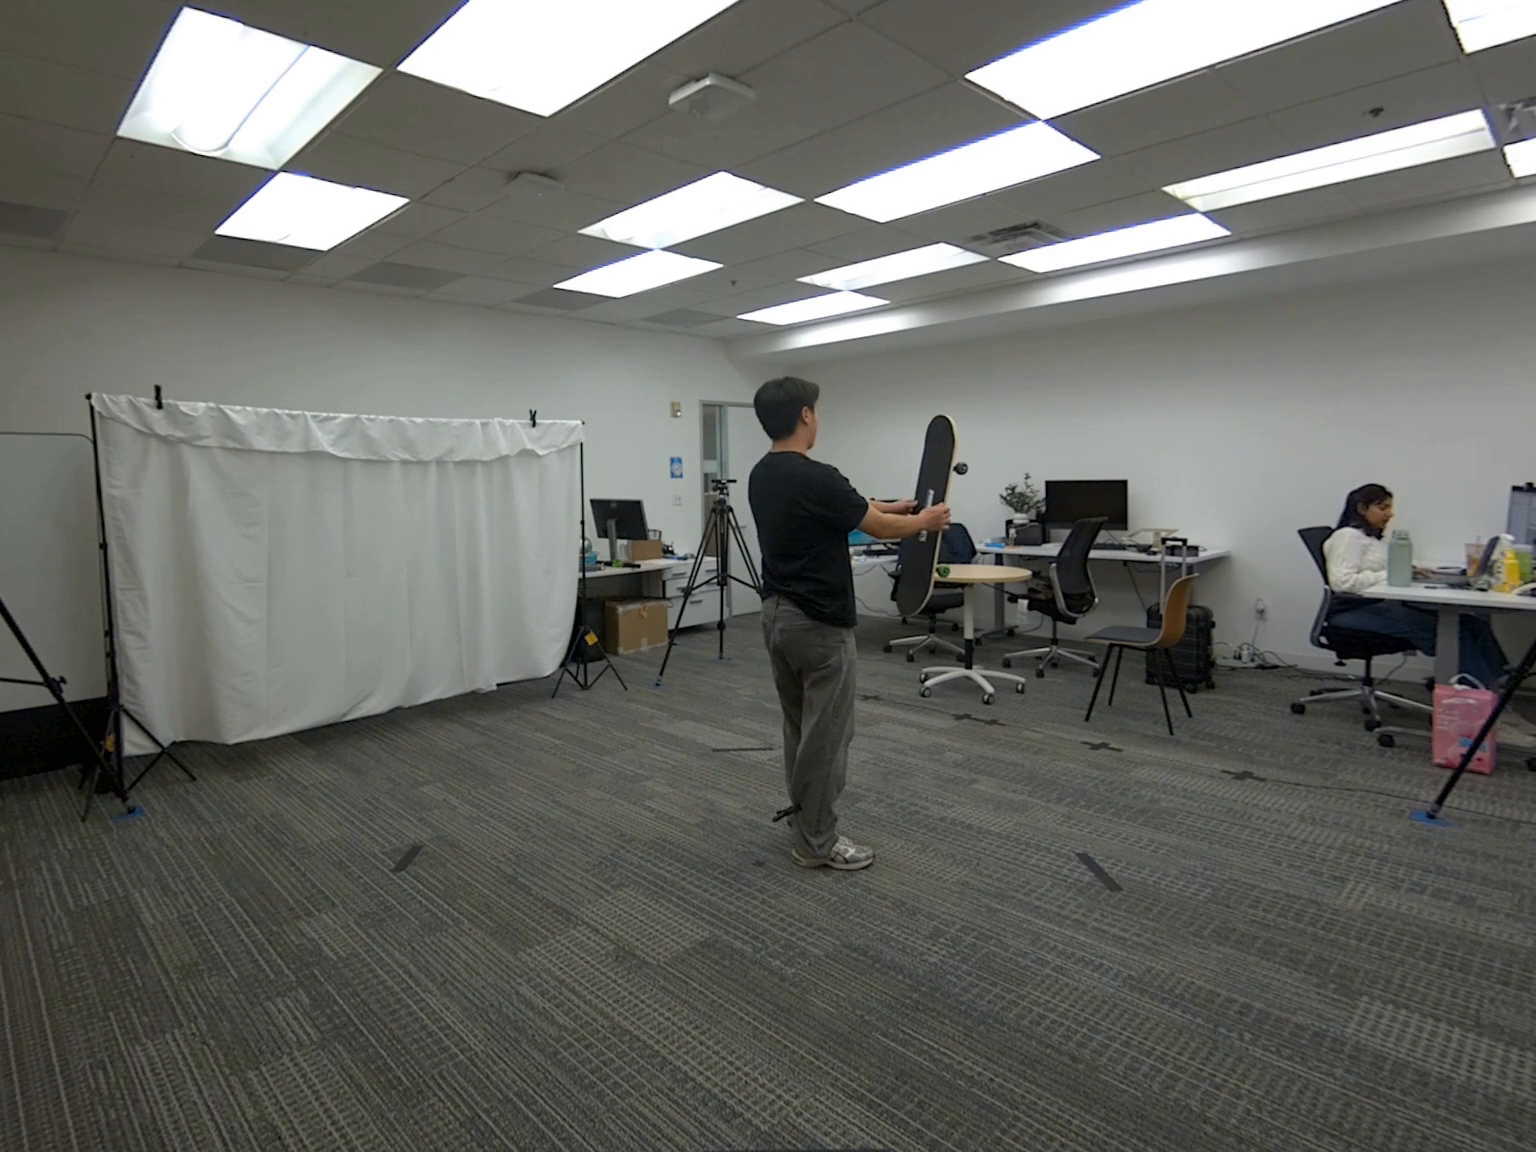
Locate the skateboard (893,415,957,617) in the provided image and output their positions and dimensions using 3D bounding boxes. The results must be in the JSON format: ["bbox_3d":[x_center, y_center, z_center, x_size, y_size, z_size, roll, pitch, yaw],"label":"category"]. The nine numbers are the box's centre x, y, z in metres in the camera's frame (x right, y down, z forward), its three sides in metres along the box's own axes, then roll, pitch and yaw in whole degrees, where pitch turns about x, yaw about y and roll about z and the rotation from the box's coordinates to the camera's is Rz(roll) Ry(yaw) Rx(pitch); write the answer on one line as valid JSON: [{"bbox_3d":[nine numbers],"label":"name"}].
[{"bbox_3d":[0.640,-0.223,3.300,0.107,0.787,0.198,12,-2,-27],"label":"skateboard"}]
